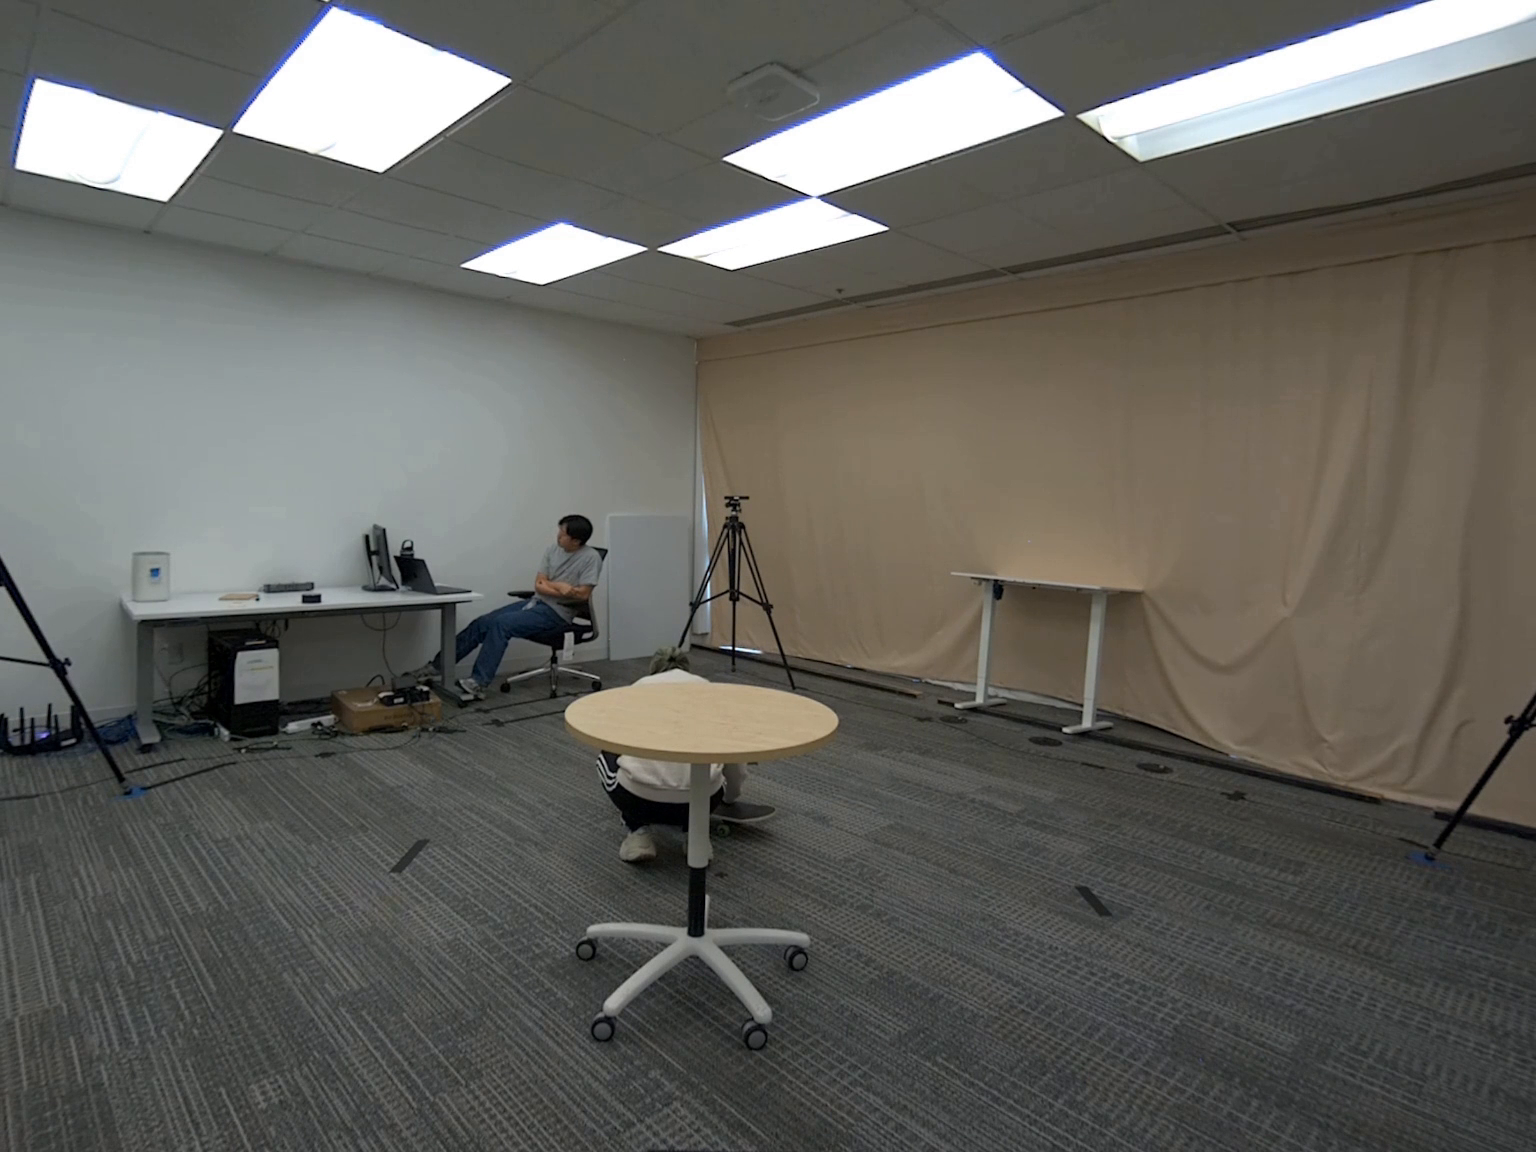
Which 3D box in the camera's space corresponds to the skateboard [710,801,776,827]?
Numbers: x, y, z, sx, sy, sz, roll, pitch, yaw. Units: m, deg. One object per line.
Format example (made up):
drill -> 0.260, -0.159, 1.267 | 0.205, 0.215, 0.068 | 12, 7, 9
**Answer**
skateboard -> -0.347, 0.996, 3.613 | 0.799, 0.110, 0.190 | 3, 5, 22
